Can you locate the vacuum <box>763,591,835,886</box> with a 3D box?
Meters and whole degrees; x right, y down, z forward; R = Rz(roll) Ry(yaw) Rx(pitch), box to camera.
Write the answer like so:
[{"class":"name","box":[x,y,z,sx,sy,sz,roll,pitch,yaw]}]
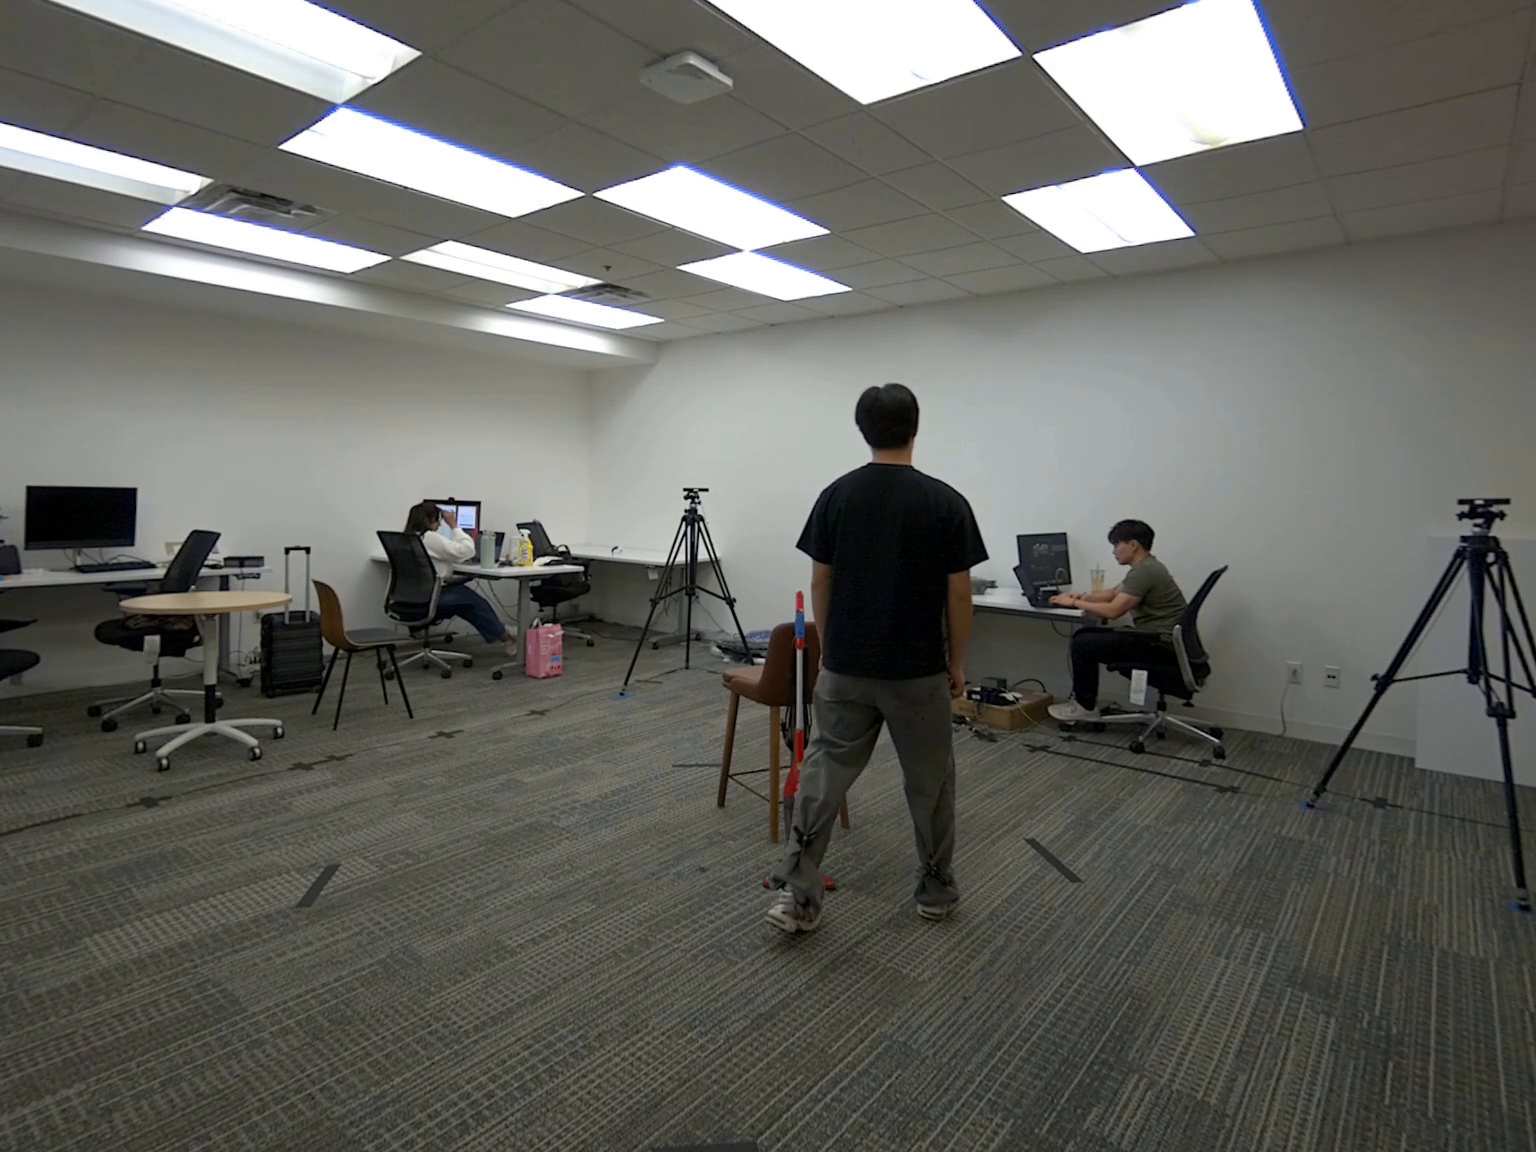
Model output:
[{"class":"vacuum","box":[0.108,0.569,3.206,0.252,1.065,0.142,2,-17,-2]}]
